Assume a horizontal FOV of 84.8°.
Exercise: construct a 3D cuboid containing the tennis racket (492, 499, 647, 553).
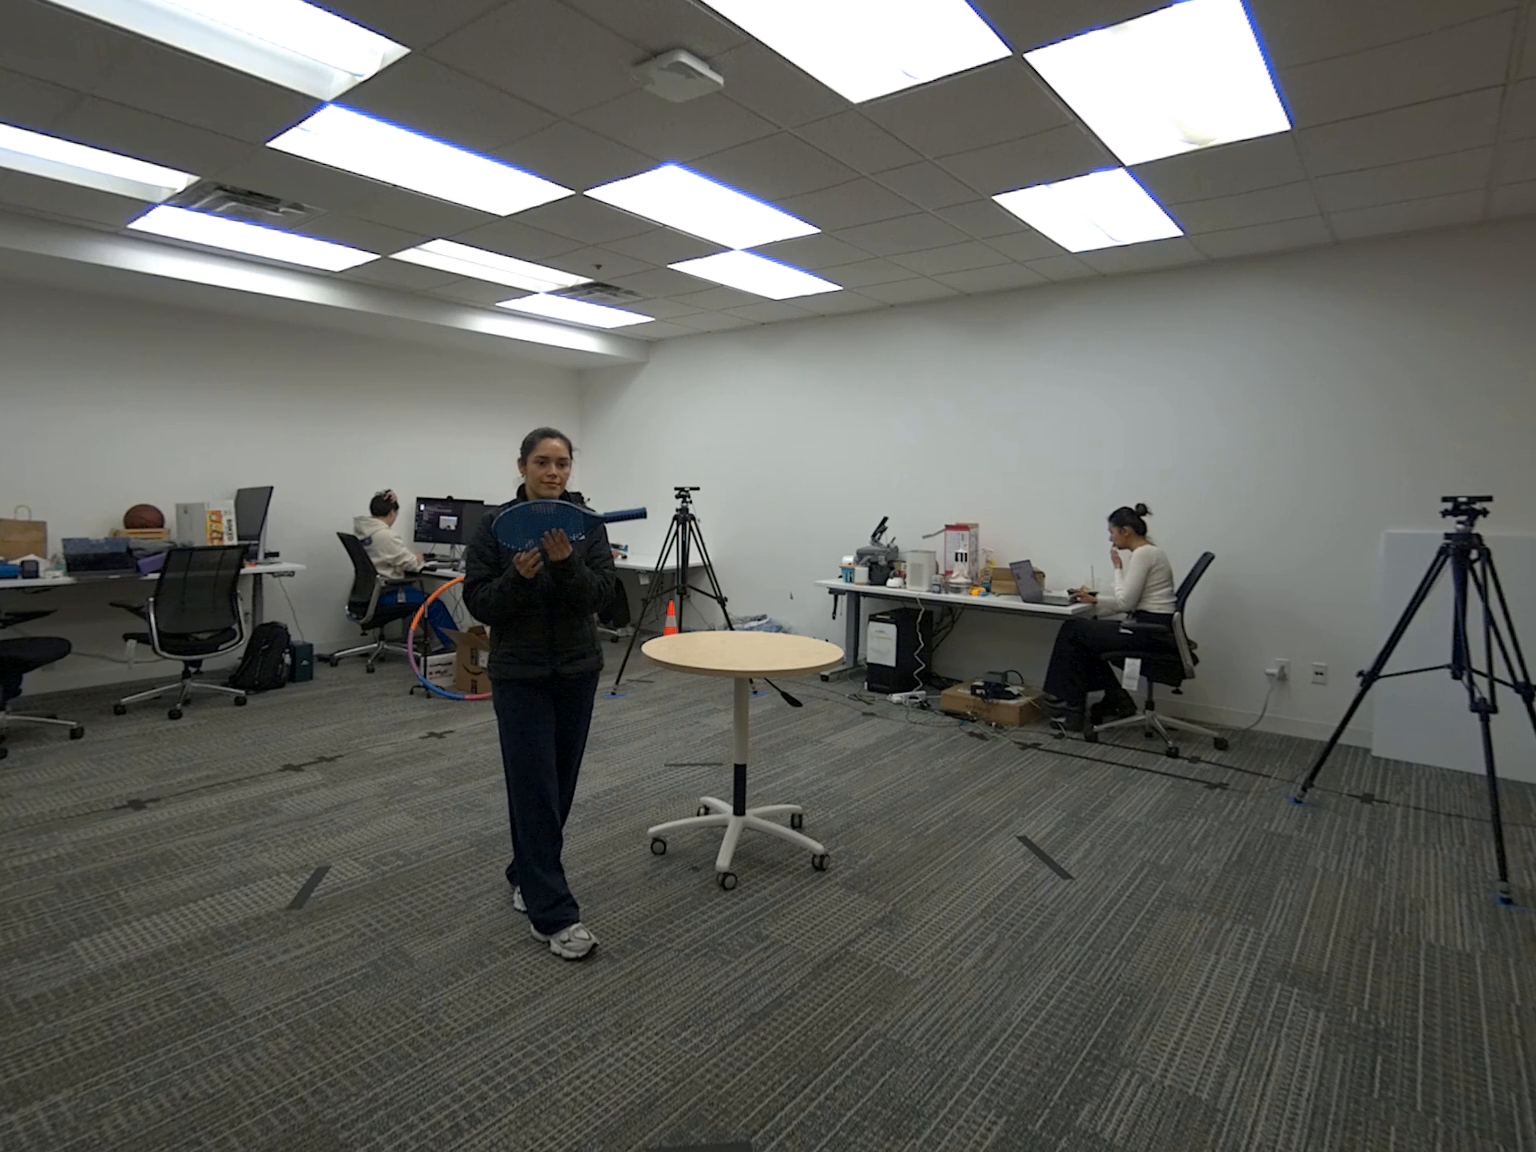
[{"bbox_3d":[-0.577,-0.154,2.428,0.432,0.033,0.207,-11,-40,-1],"label":"tennis racket"}]
